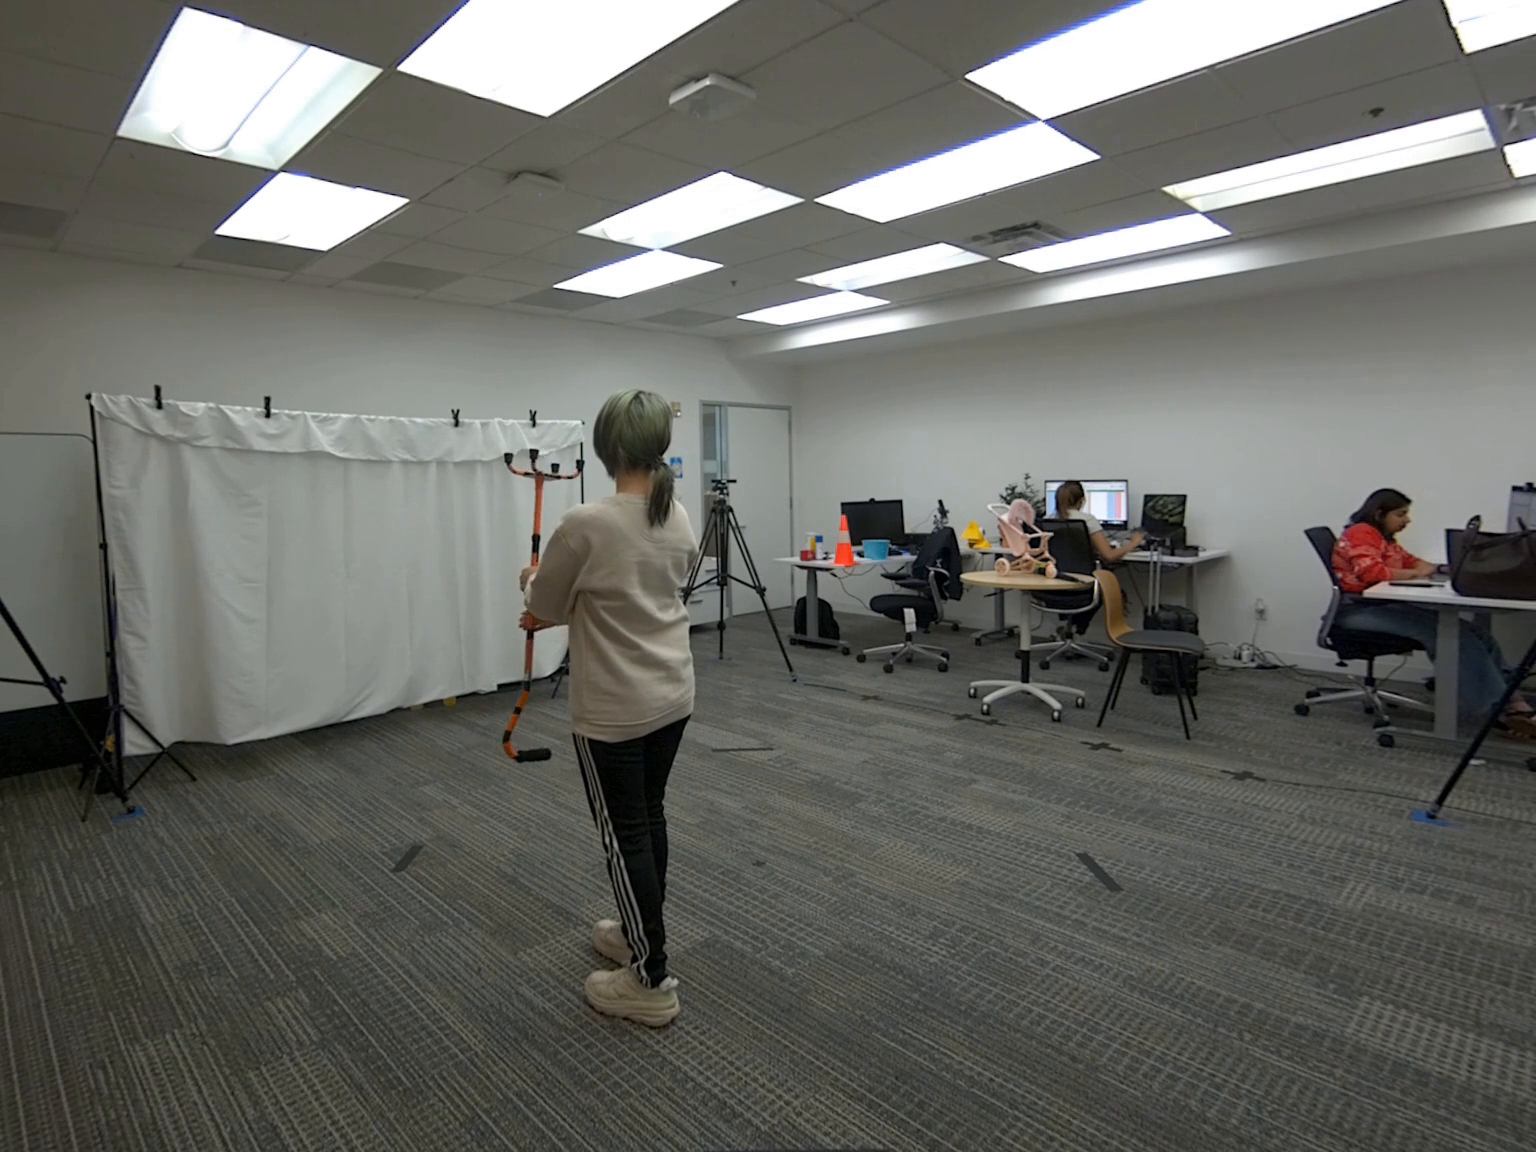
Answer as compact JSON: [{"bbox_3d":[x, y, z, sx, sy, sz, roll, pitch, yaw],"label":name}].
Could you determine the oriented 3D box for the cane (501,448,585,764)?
[{"bbox_3d":[-0.694,0.096,2.544,0.155,0.913,0.200,-3,-8,36],"label":"cane"}]
